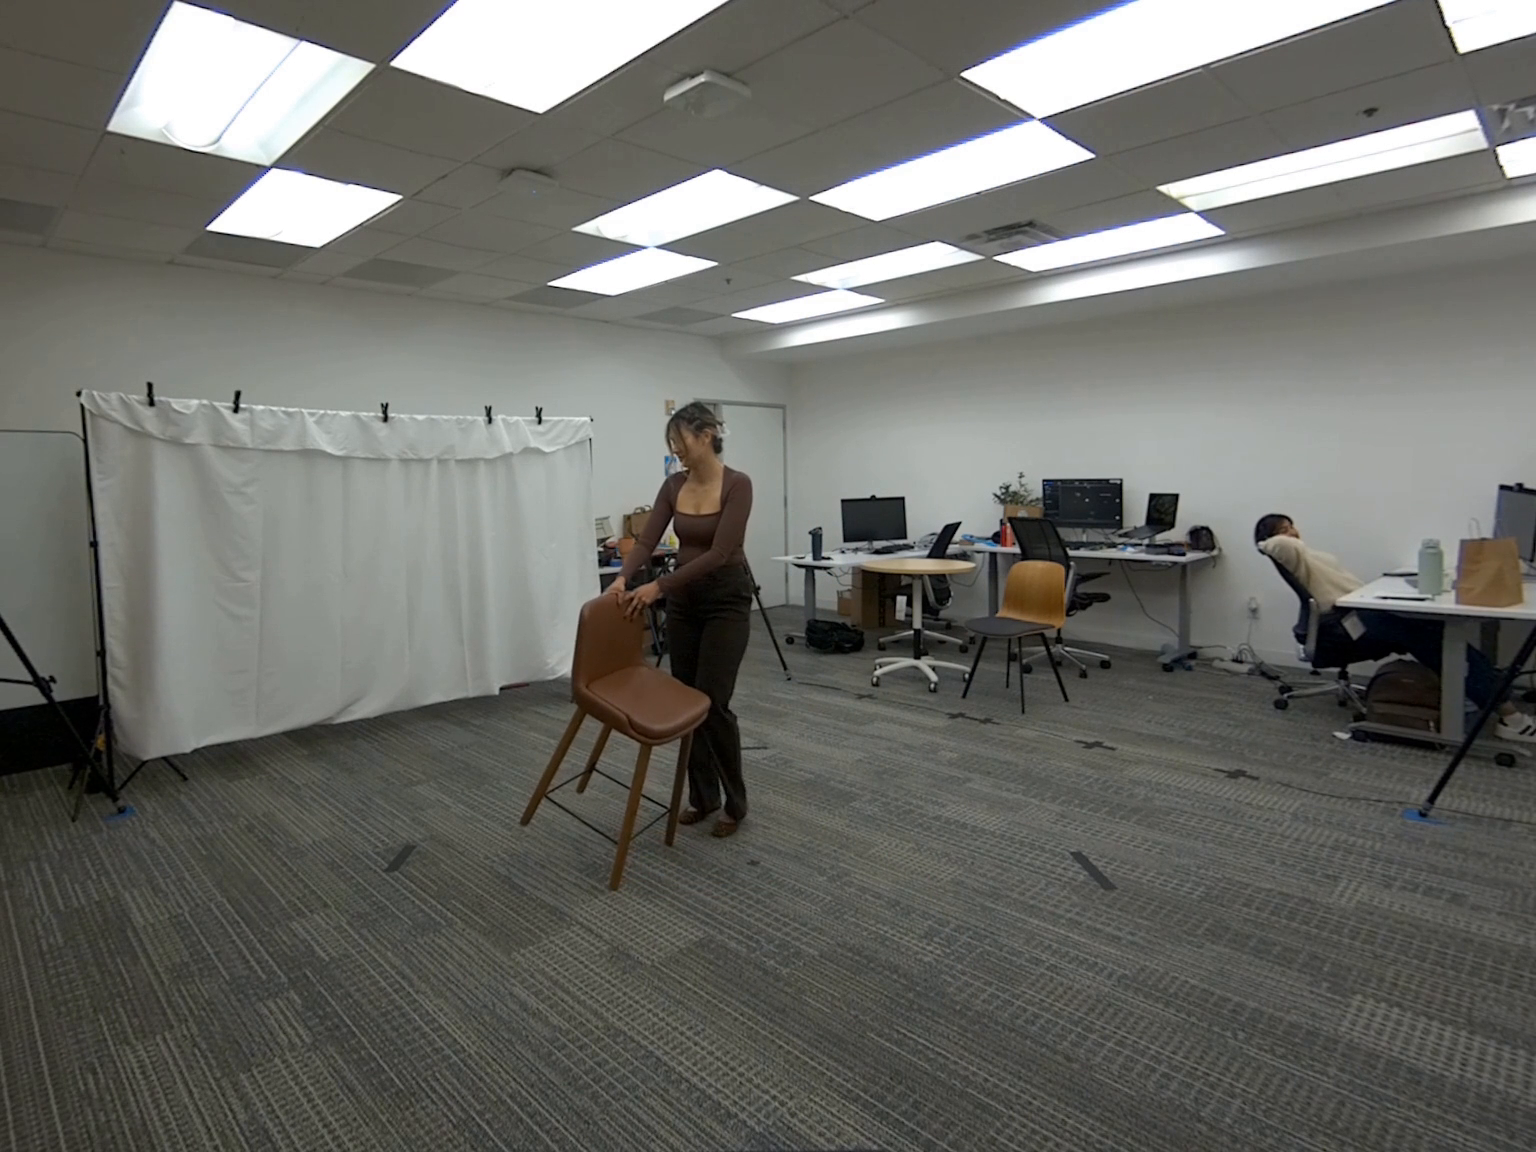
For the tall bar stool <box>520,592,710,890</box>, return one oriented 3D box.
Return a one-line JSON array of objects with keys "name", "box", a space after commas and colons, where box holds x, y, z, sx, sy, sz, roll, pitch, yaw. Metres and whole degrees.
[{"name": "tall bar stool", "box": [-0.509, 0.568, 3.084, 0.480, 0.883, 0.447, 22, 13, 22]}]
